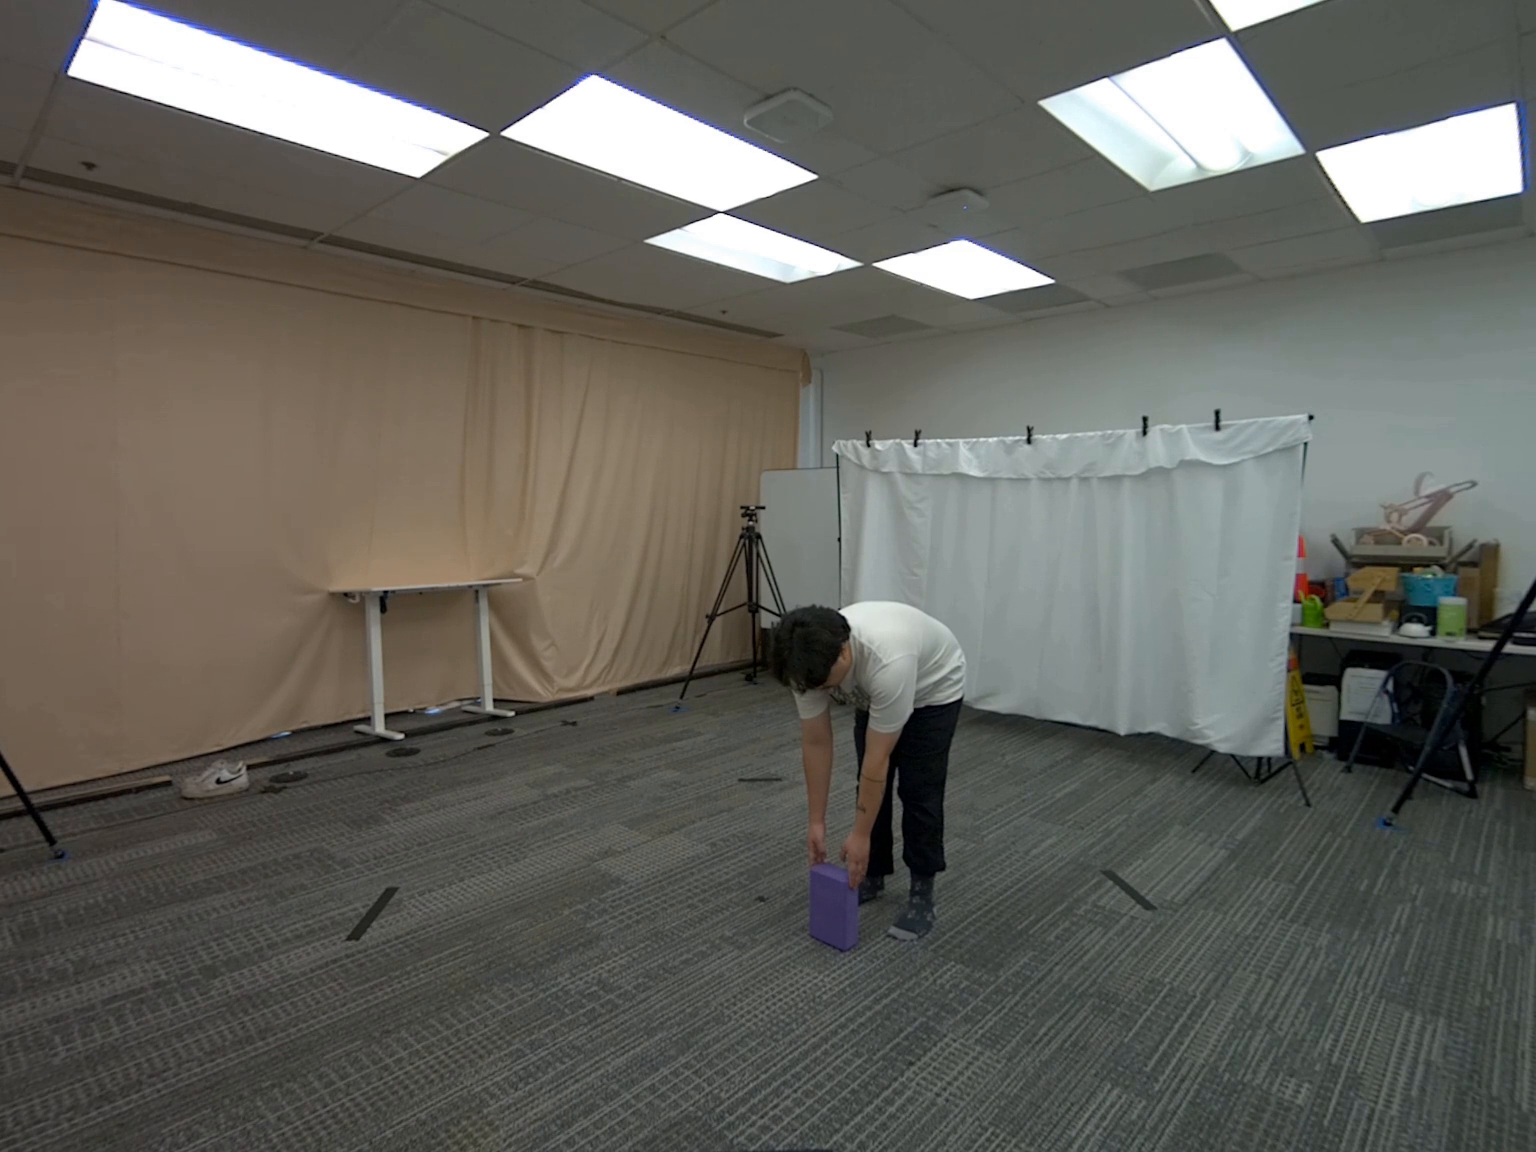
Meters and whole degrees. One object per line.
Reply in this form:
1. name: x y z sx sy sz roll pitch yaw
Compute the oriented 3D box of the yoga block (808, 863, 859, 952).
1. yoga block: 0.219 1.059 2.687 0.154 0.229 0.074 5 3 42
